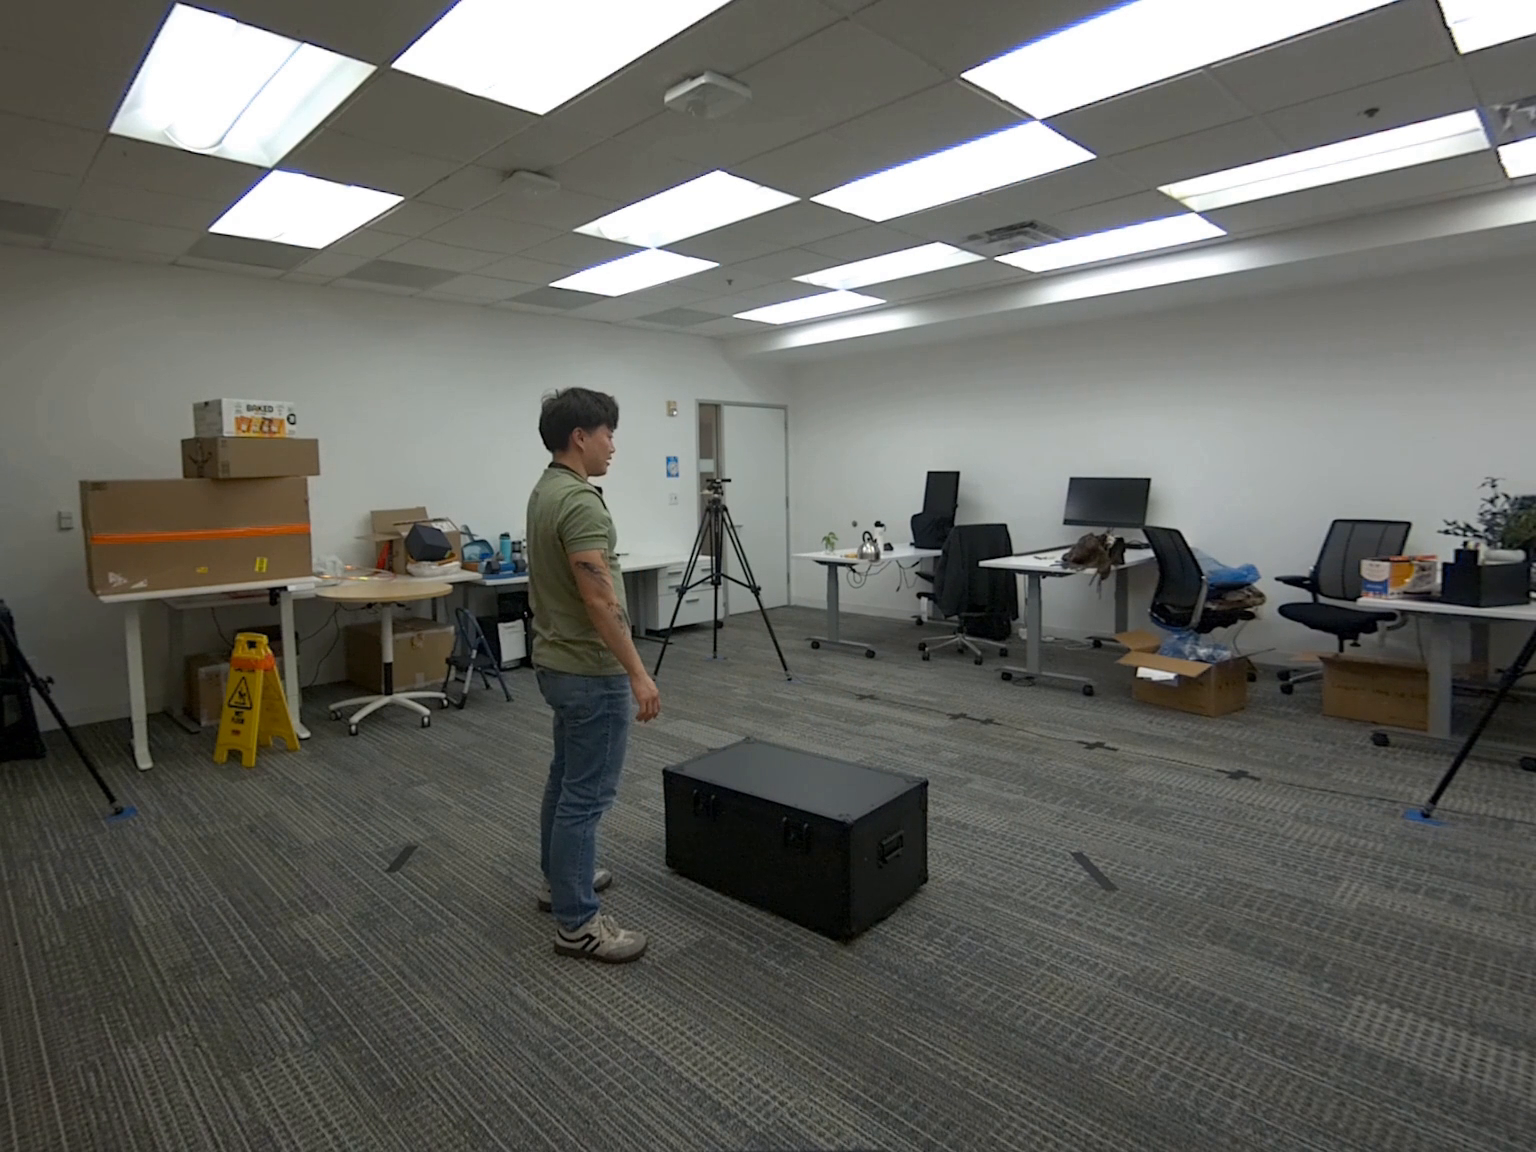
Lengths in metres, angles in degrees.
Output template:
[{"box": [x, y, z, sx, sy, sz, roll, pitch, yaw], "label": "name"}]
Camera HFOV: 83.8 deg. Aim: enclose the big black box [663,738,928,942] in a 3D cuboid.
[{"box": [0.064, 0.867, 2.986, 0.888, 0.394, 0.508, 5, 8, 39], "label": "big black box"}]
